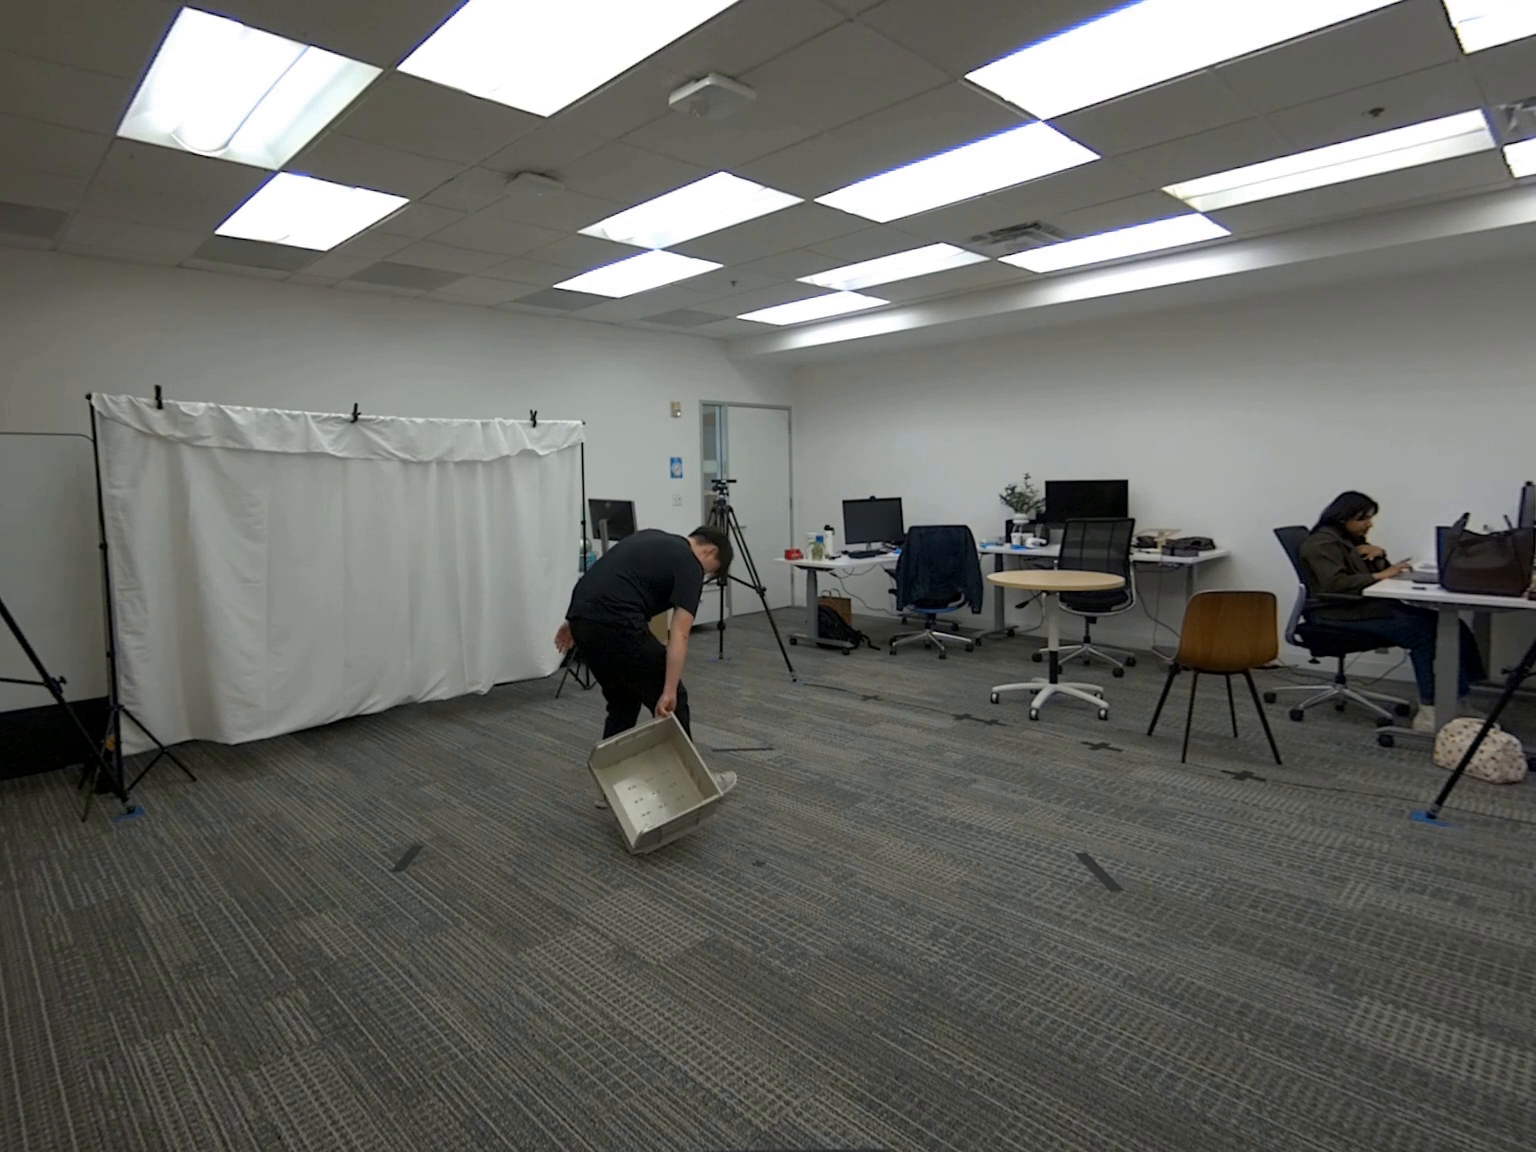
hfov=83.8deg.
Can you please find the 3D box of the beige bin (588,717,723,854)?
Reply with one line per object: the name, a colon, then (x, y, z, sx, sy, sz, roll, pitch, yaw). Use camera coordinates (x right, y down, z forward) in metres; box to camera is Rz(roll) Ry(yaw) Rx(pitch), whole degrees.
beige bin: (-0.439, 0.807, 3.319, 0.372, 0.185, 0.438, -19, 49, -26)
